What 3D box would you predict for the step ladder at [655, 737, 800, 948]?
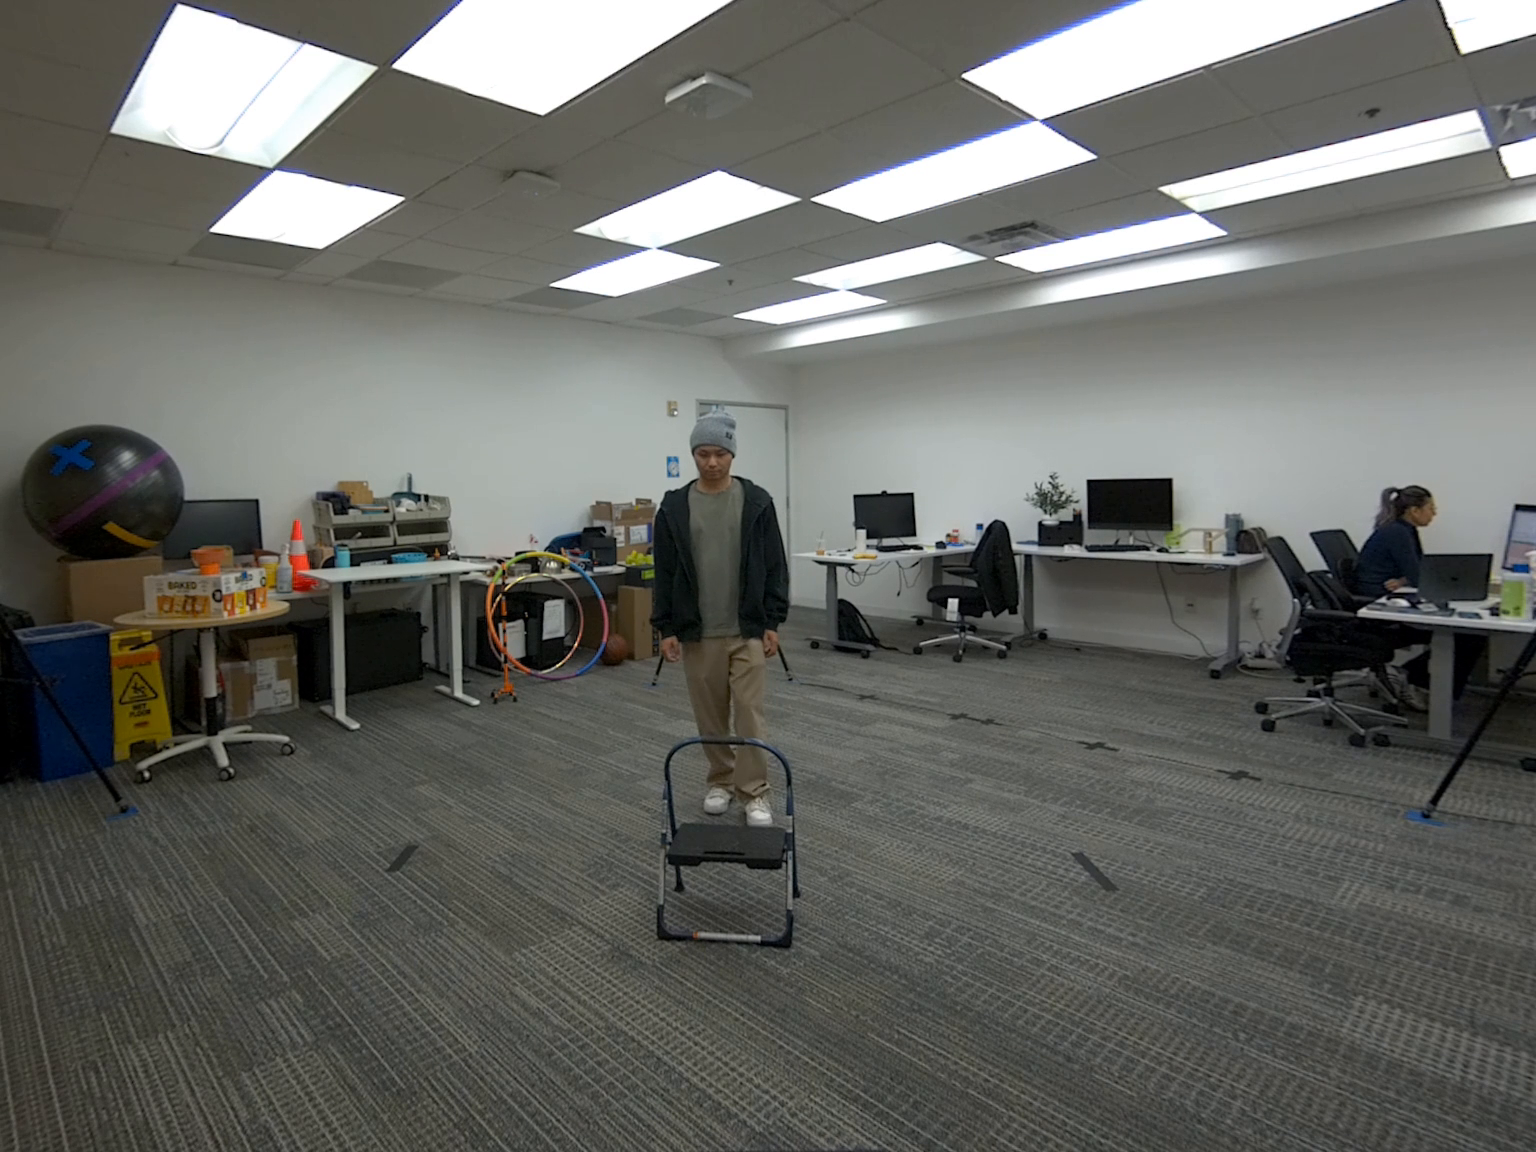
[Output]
[{"bbox_3d":[-0.126,0.793,2.719,0.434,0.604,0.348,0,4,6],"label":"step ladder"}]
